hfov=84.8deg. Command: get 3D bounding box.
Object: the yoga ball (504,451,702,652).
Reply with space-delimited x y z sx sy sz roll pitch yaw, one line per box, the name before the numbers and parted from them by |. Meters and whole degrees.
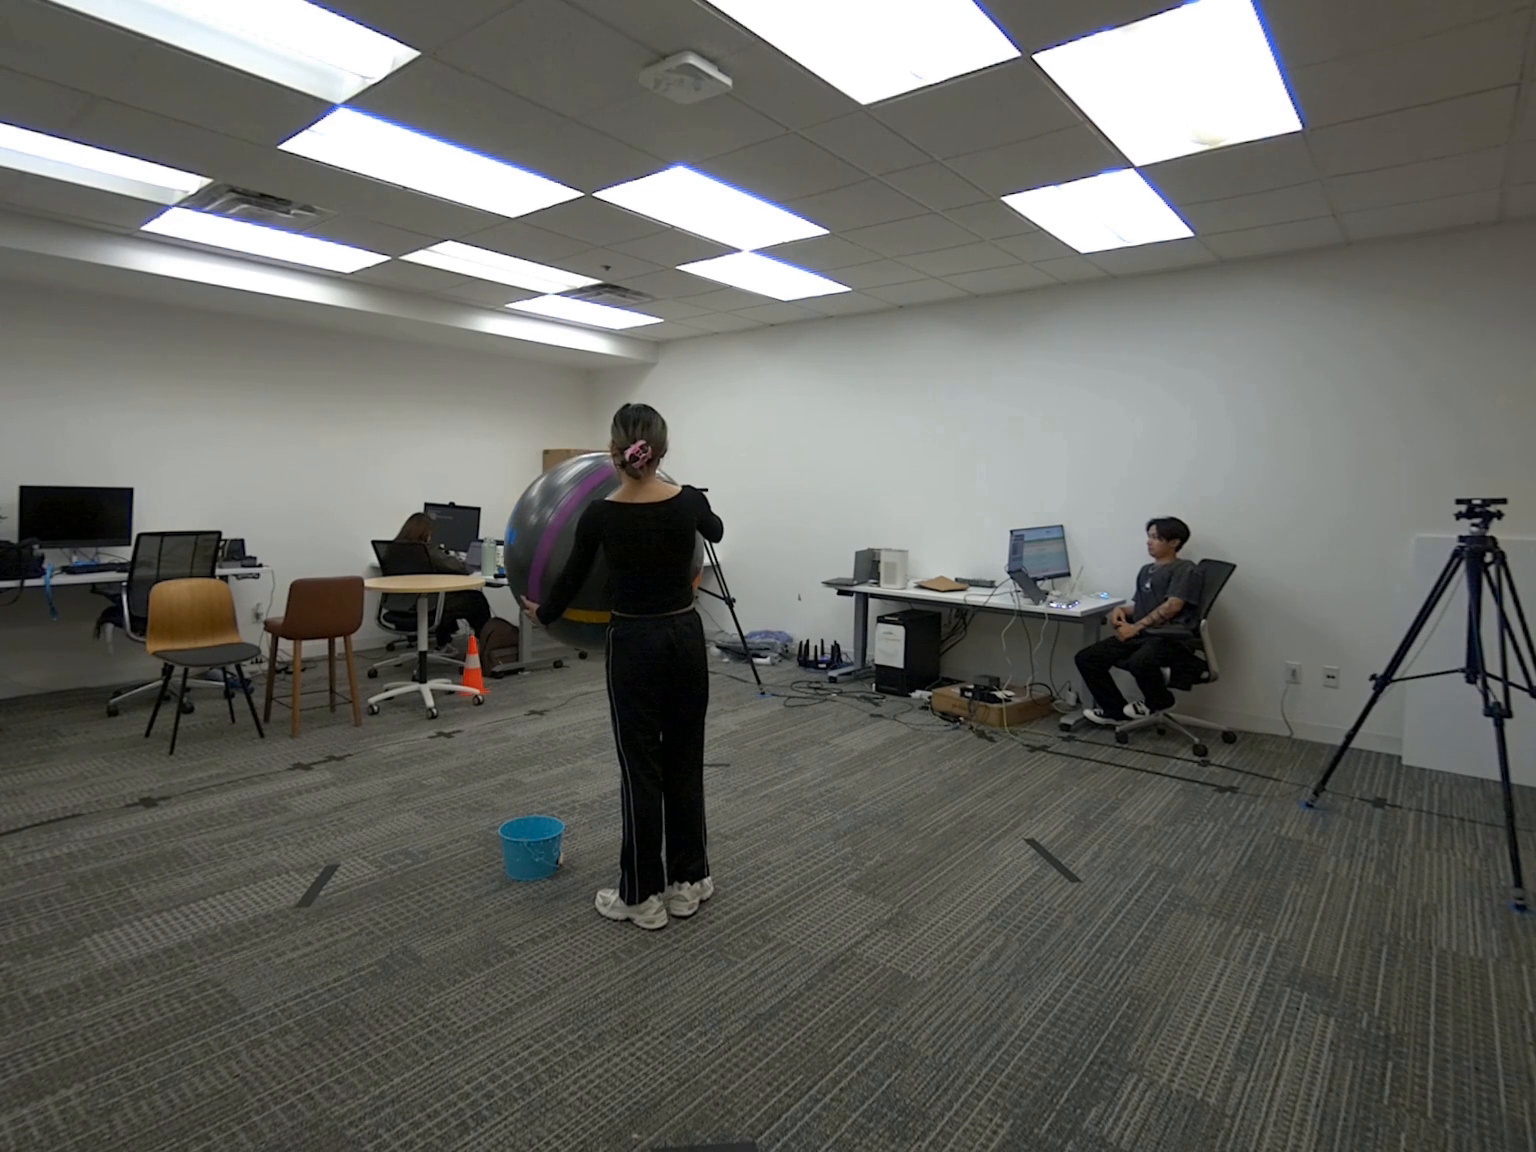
yoga ball | -0.640 -0.090 3.255 0.757 0.755 0.762 1 4 -2
